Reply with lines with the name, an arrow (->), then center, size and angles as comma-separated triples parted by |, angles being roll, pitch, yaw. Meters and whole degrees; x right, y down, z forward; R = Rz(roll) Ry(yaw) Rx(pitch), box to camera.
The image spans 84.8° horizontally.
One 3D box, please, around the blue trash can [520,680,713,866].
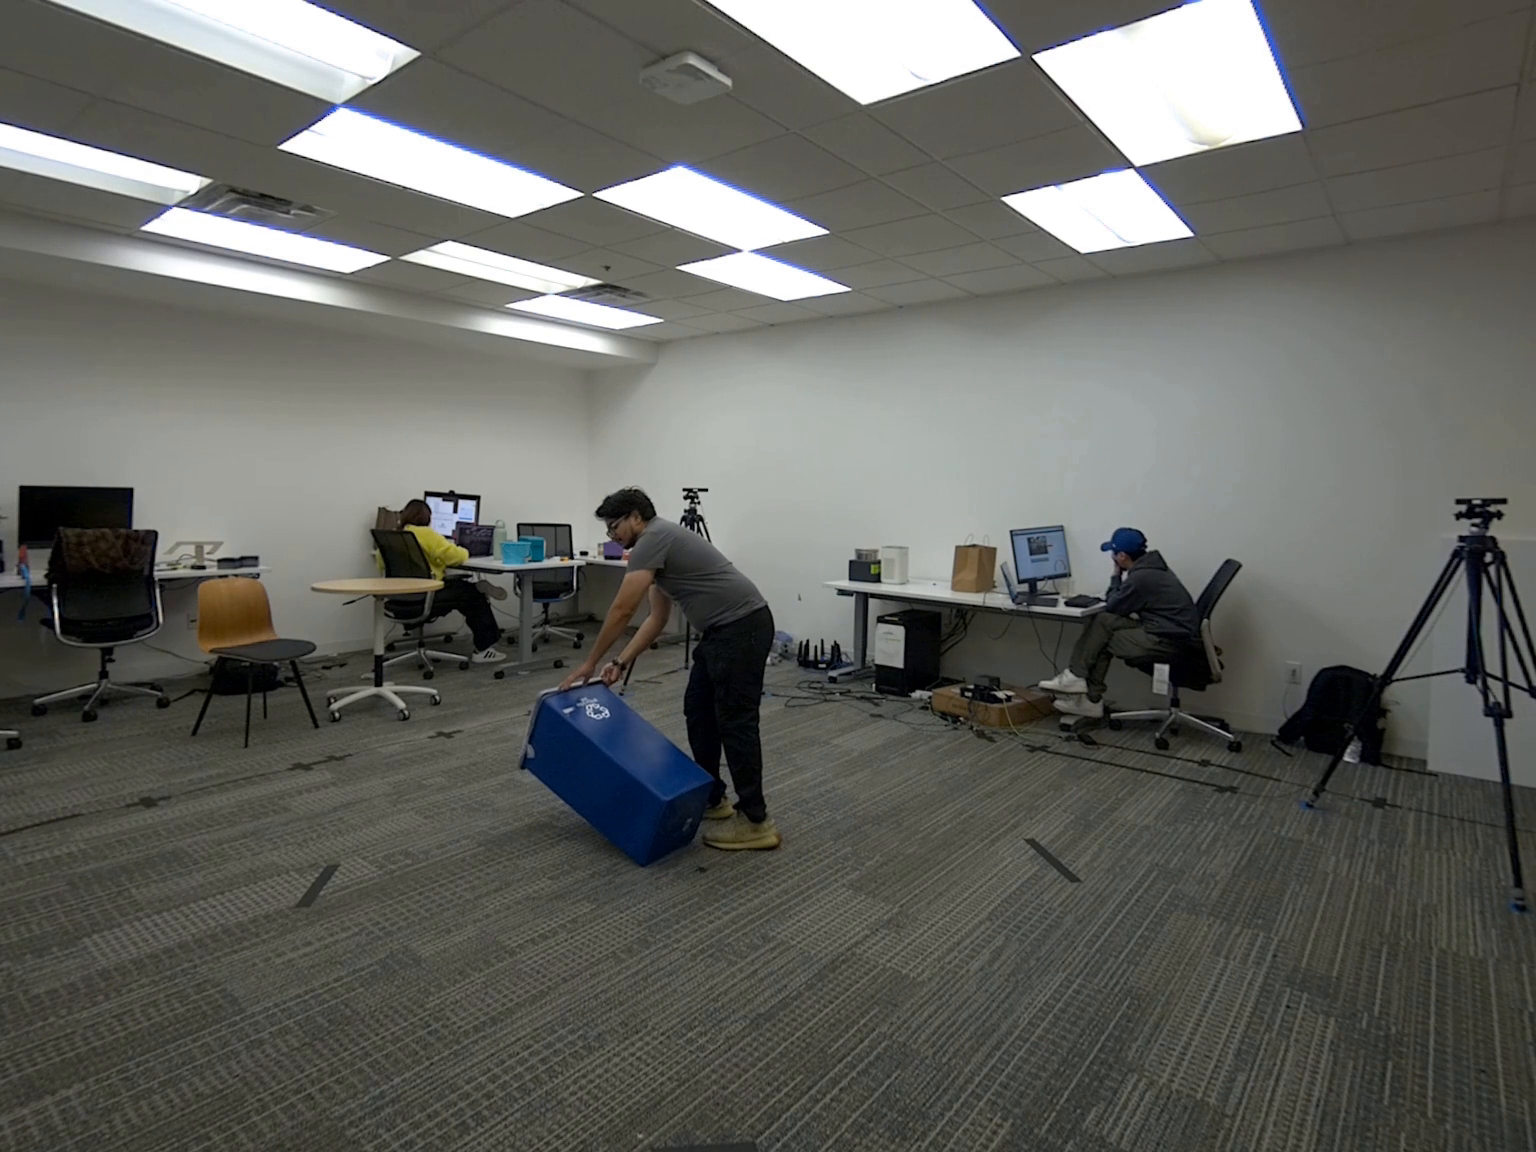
blue trash can -> -0.610, 0.774, 3.364 | 0.741, 0.370, 0.367 | 29, 19, 31
